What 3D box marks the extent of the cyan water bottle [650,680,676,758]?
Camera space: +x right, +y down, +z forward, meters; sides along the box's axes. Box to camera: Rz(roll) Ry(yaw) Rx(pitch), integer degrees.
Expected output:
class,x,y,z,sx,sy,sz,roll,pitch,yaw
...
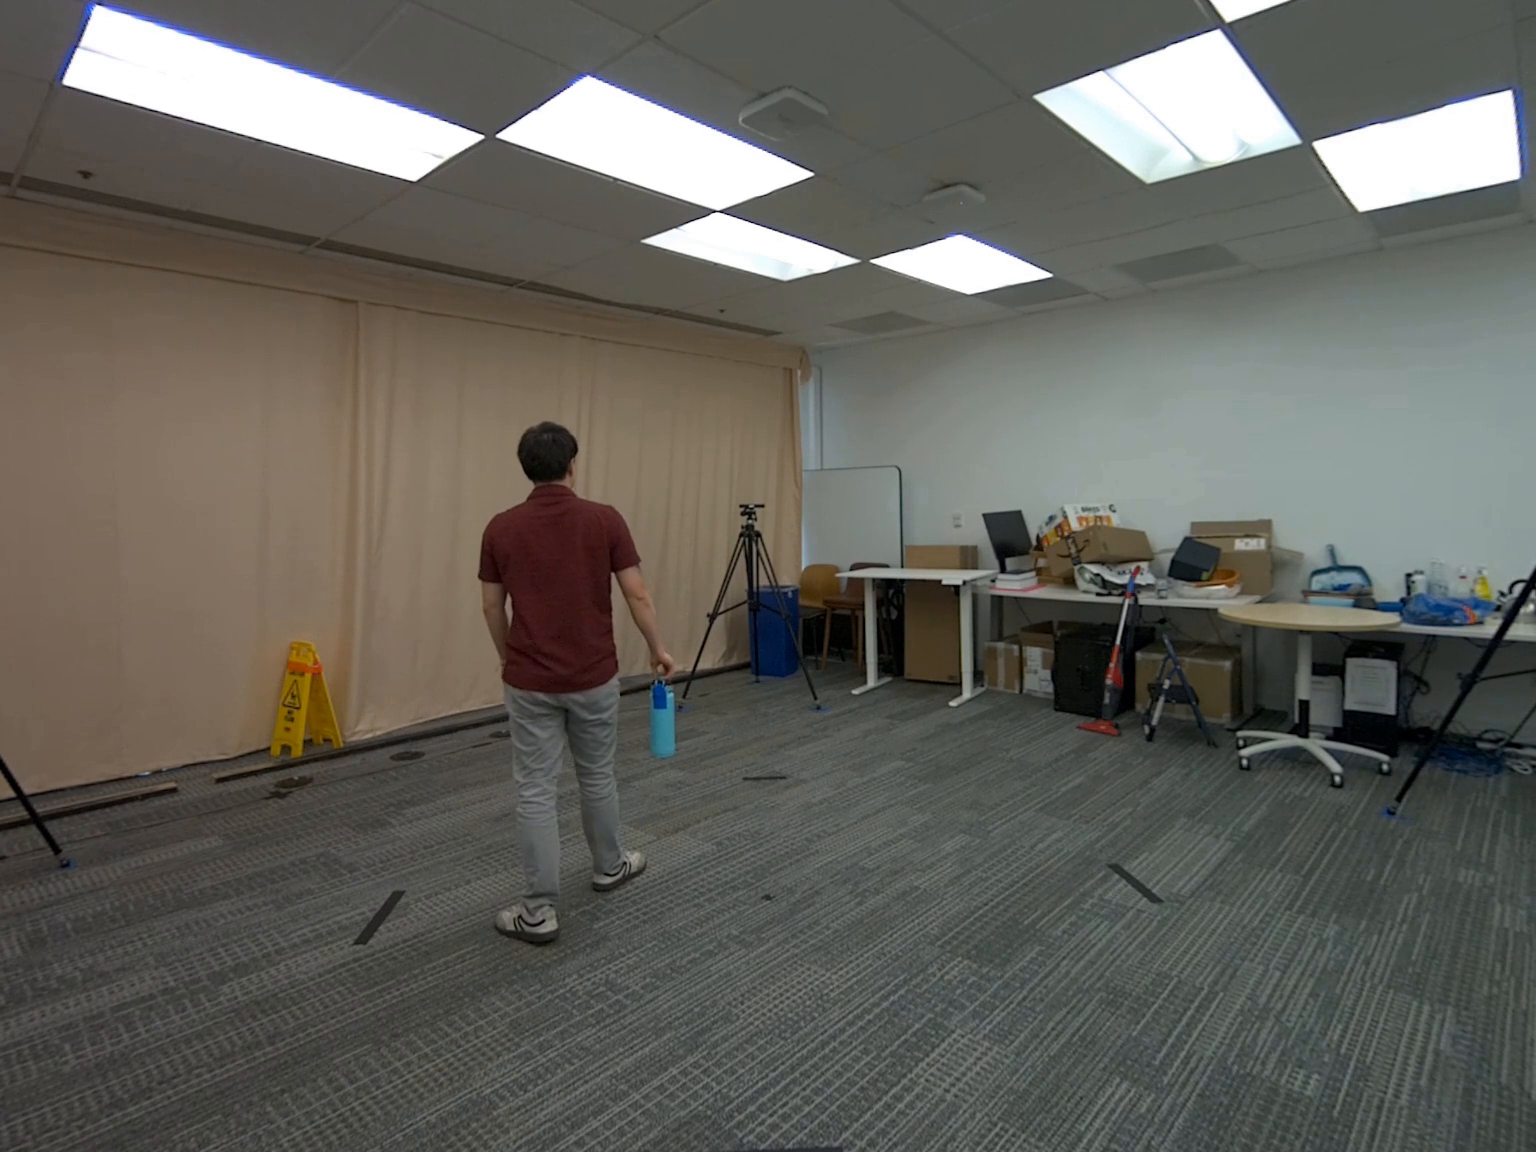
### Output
class,x,y,z,sx,sy,sz,roll,pitch,yaw
cyan water bottle,-0.387,0.505,3.043,0.092,0.282,0.093,2,5,-2
